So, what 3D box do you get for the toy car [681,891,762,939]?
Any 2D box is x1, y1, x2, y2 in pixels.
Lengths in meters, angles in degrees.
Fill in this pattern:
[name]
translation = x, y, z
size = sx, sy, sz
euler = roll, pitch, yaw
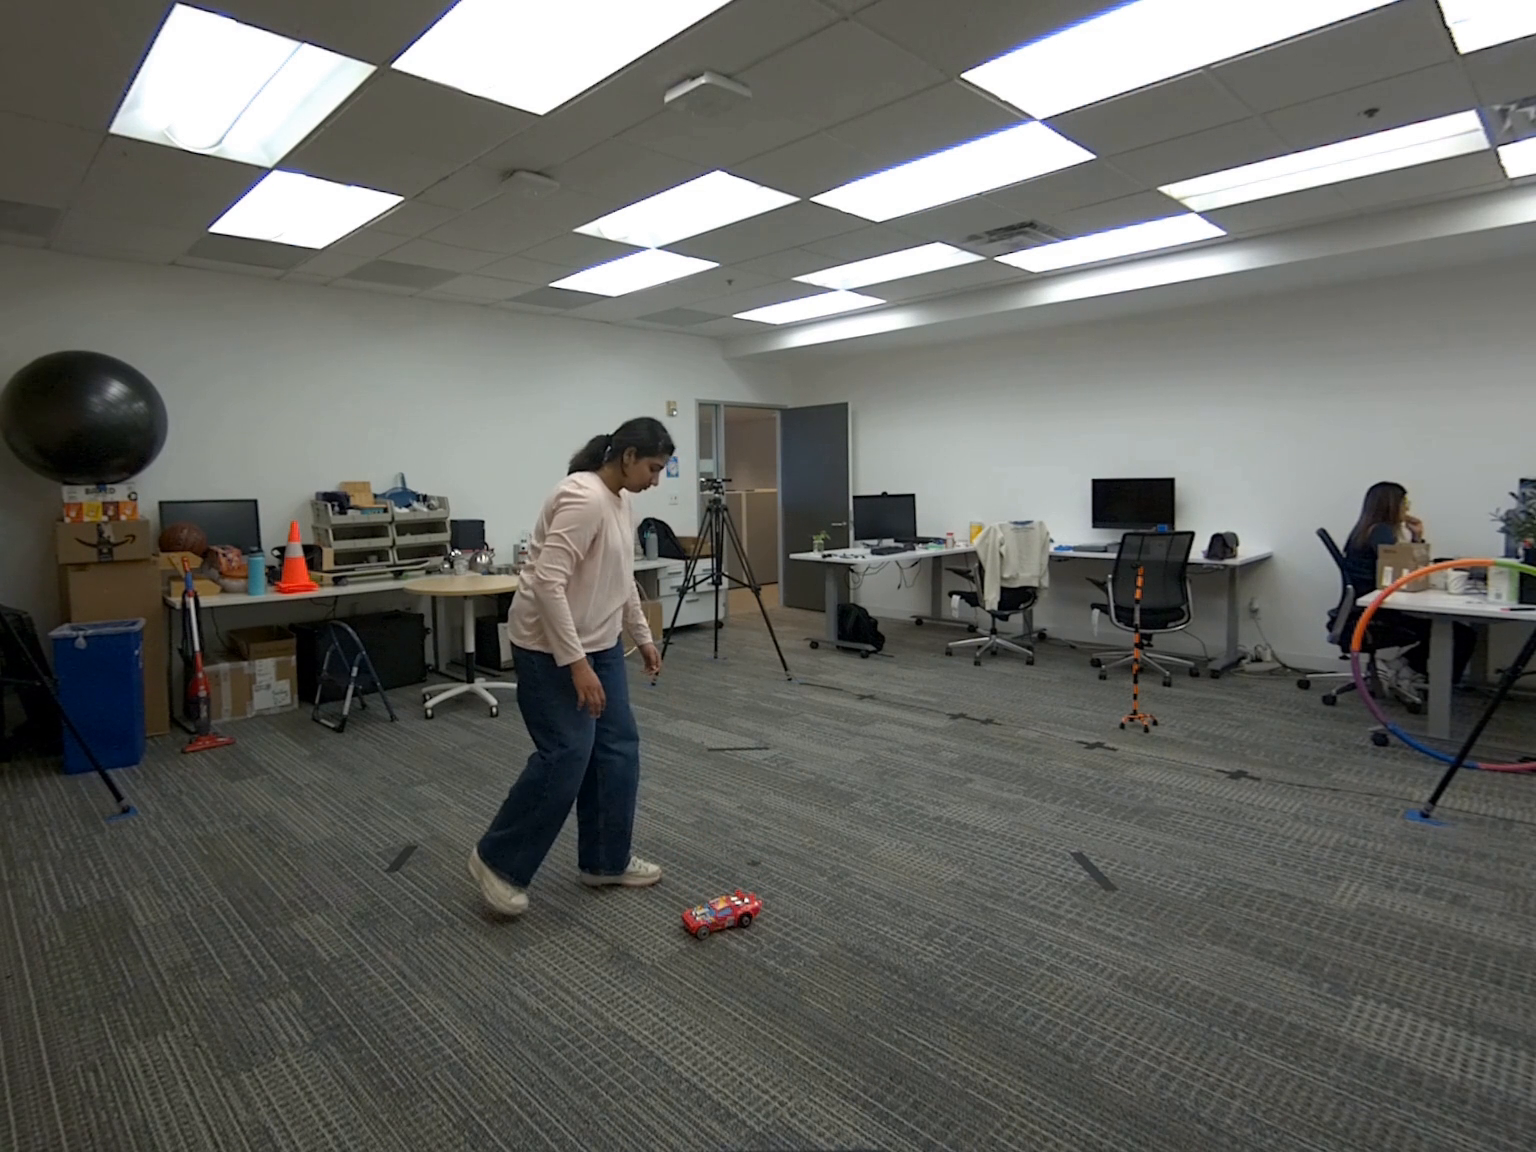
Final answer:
[toy car]
translation = -0.136, 1.057, 2.676
size = 0.250, 0.082, 0.134
euler = -17, 12, -25
